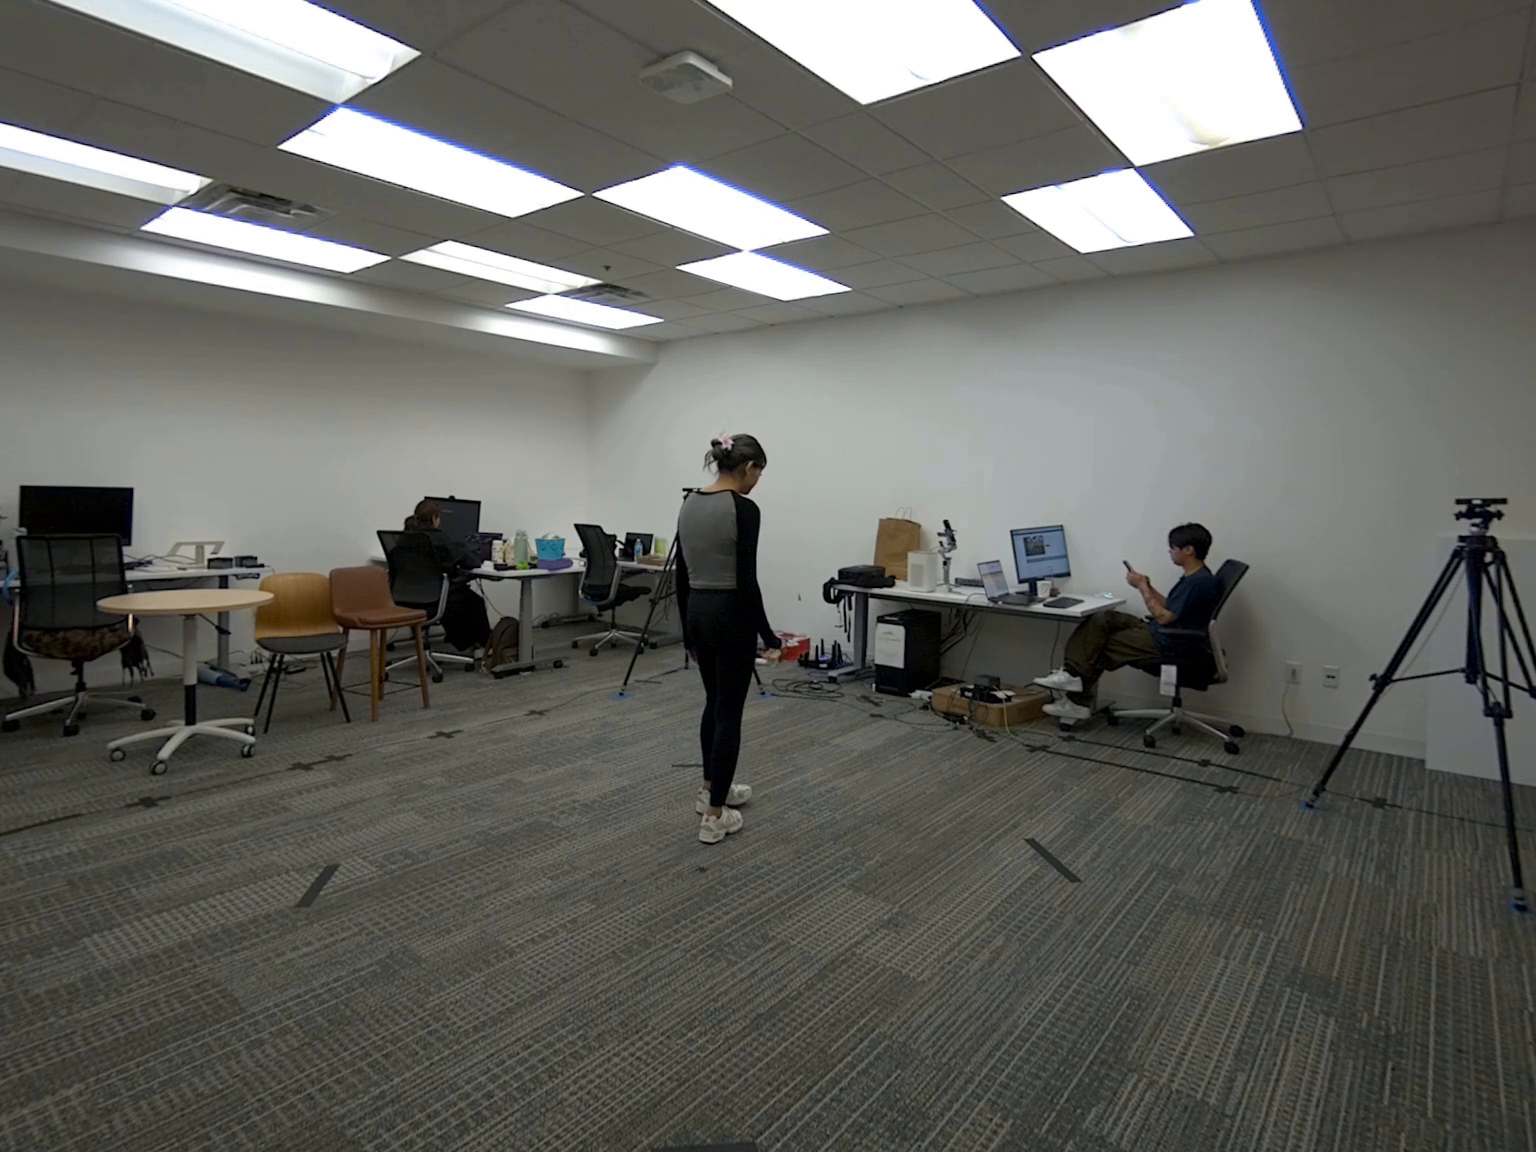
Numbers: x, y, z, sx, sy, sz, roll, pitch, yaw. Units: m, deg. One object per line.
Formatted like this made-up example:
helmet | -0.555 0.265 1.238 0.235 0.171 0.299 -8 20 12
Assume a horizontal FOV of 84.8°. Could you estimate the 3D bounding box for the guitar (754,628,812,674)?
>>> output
guitar | 0.015 0.299 3.471 0.197 0.070 0.490 4 8 19
